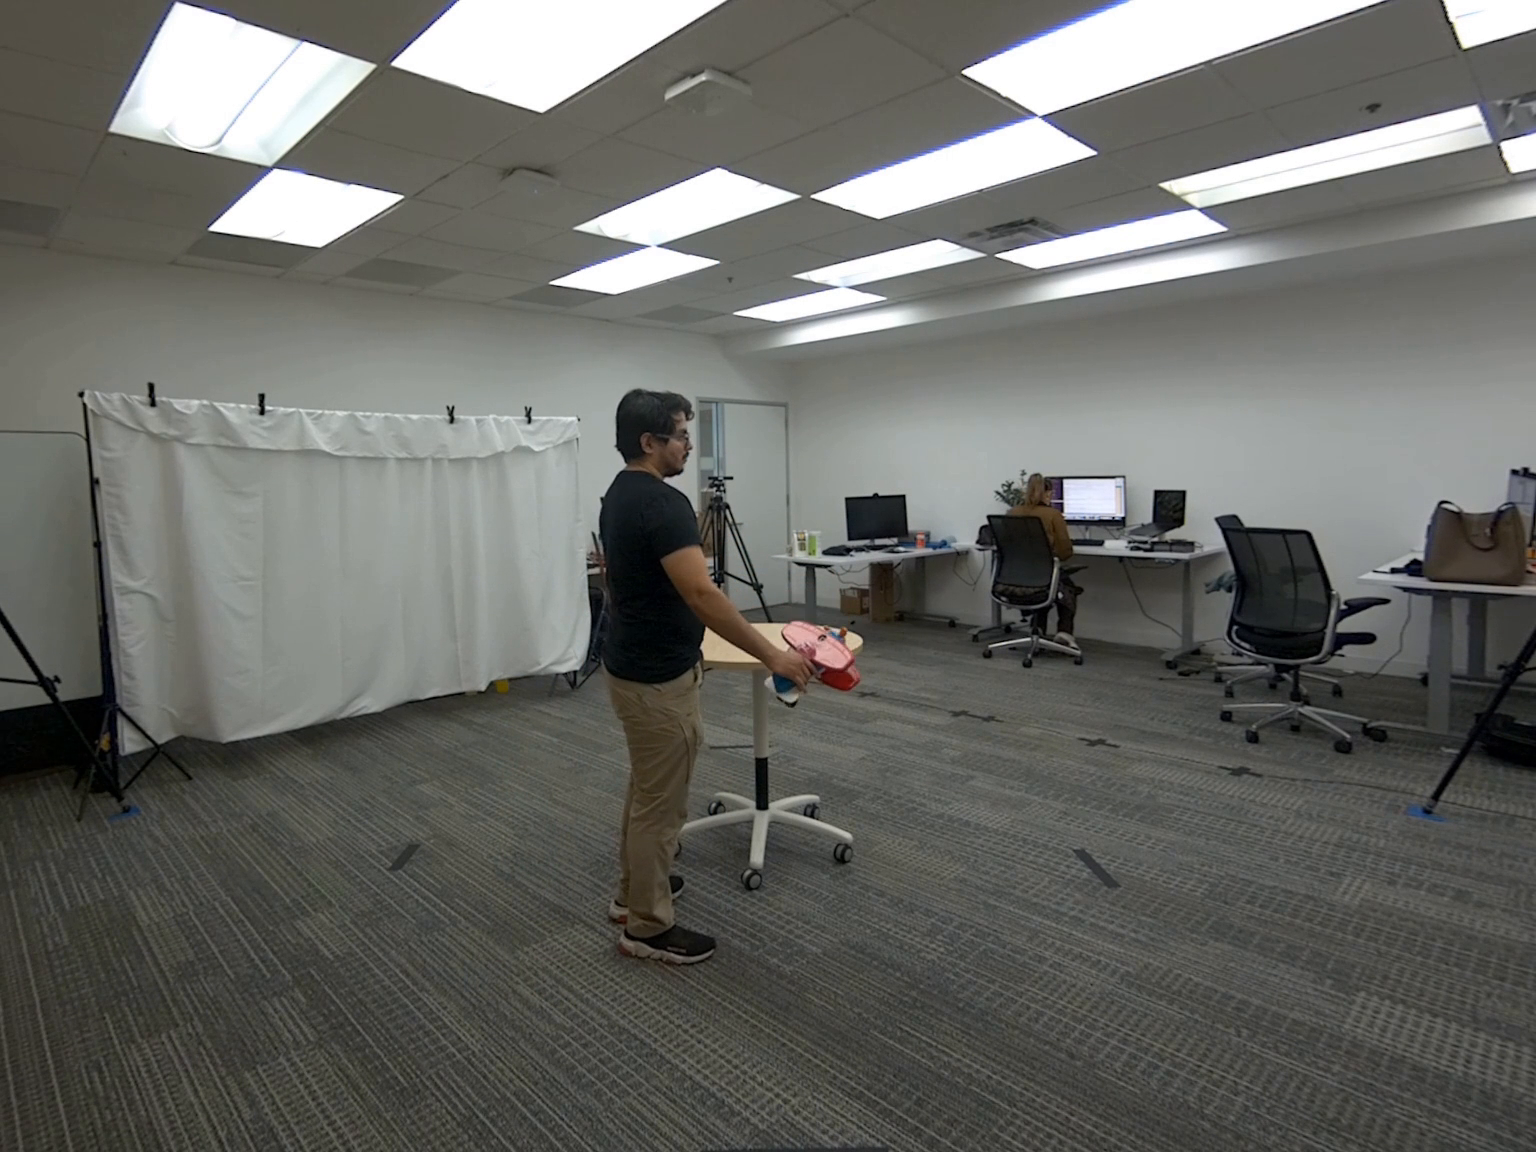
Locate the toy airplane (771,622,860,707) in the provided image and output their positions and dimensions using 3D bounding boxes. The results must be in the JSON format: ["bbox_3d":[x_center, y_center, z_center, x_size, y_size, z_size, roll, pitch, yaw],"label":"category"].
[{"bbox_3d":[0.120,0.256,2.381,0.257,0.152,0.259,8,31,24],"label":"toy airplane"}]
